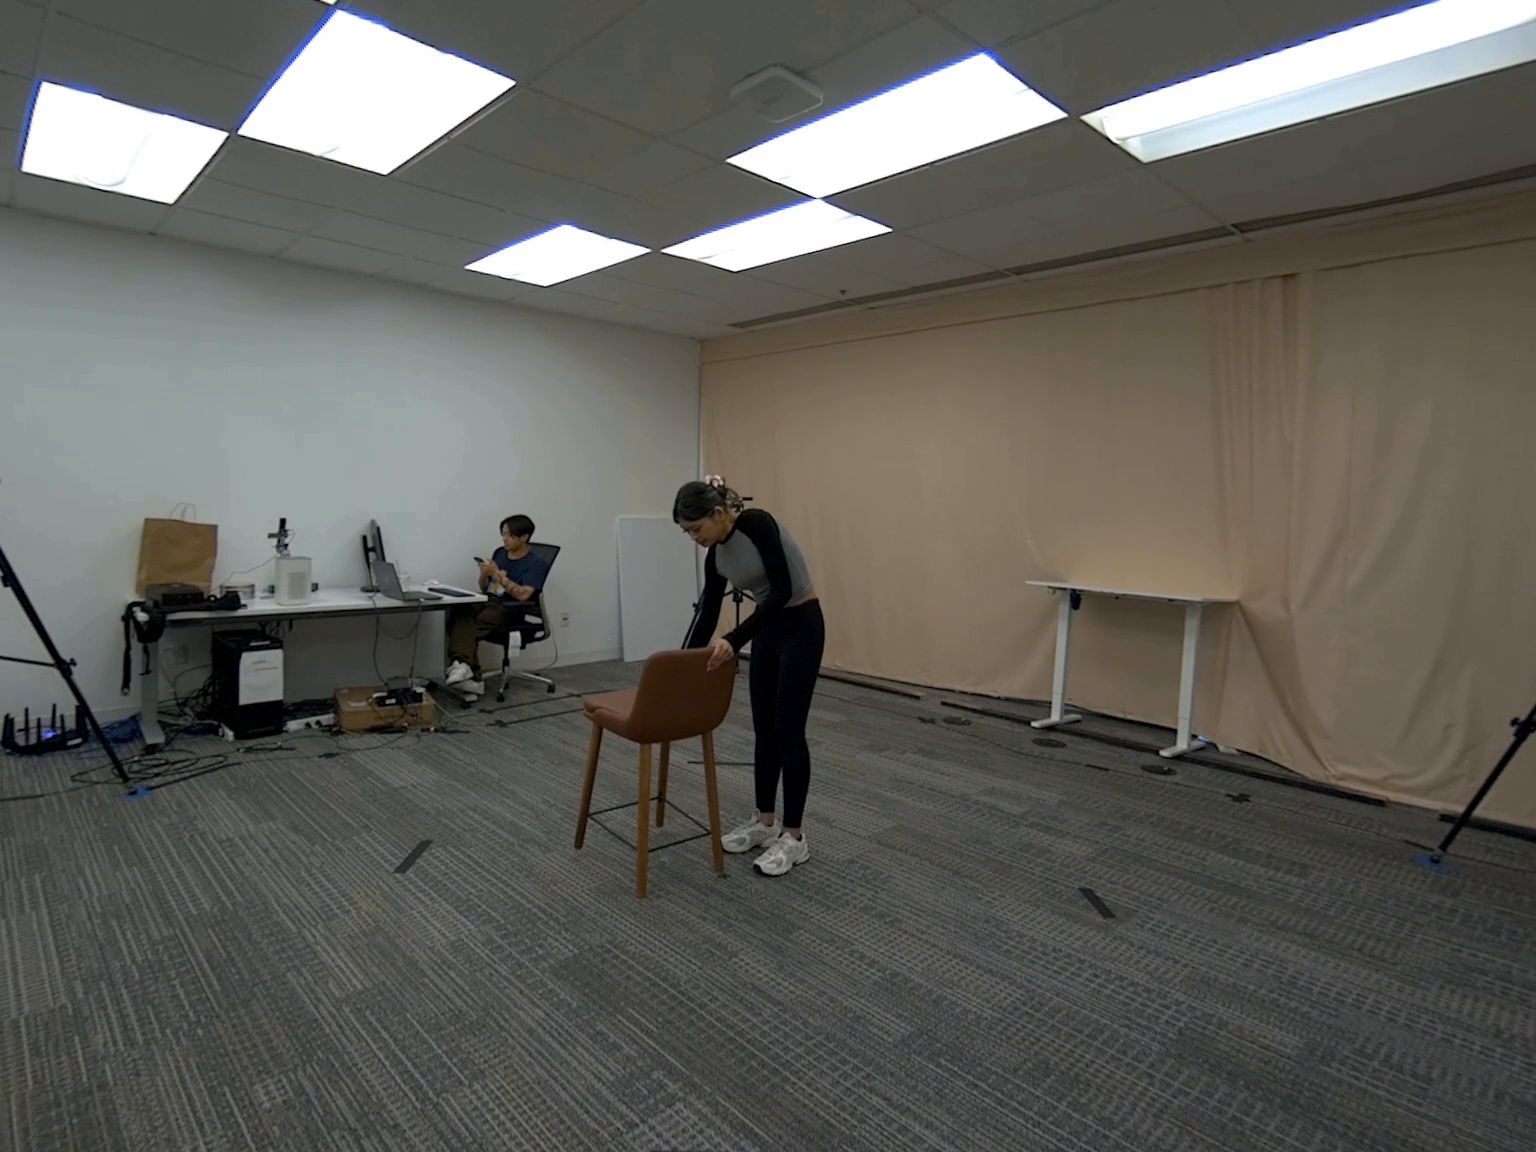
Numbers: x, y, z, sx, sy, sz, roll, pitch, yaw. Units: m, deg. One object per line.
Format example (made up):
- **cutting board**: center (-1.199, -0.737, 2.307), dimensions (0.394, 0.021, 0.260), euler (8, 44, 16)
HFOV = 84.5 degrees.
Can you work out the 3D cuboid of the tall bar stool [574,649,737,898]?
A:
- **tall bar stool**: center (-0.428, 0.651, 3.147), dimensions (0.446, 0.885, 0.481), euler (-1, 10, -40)
